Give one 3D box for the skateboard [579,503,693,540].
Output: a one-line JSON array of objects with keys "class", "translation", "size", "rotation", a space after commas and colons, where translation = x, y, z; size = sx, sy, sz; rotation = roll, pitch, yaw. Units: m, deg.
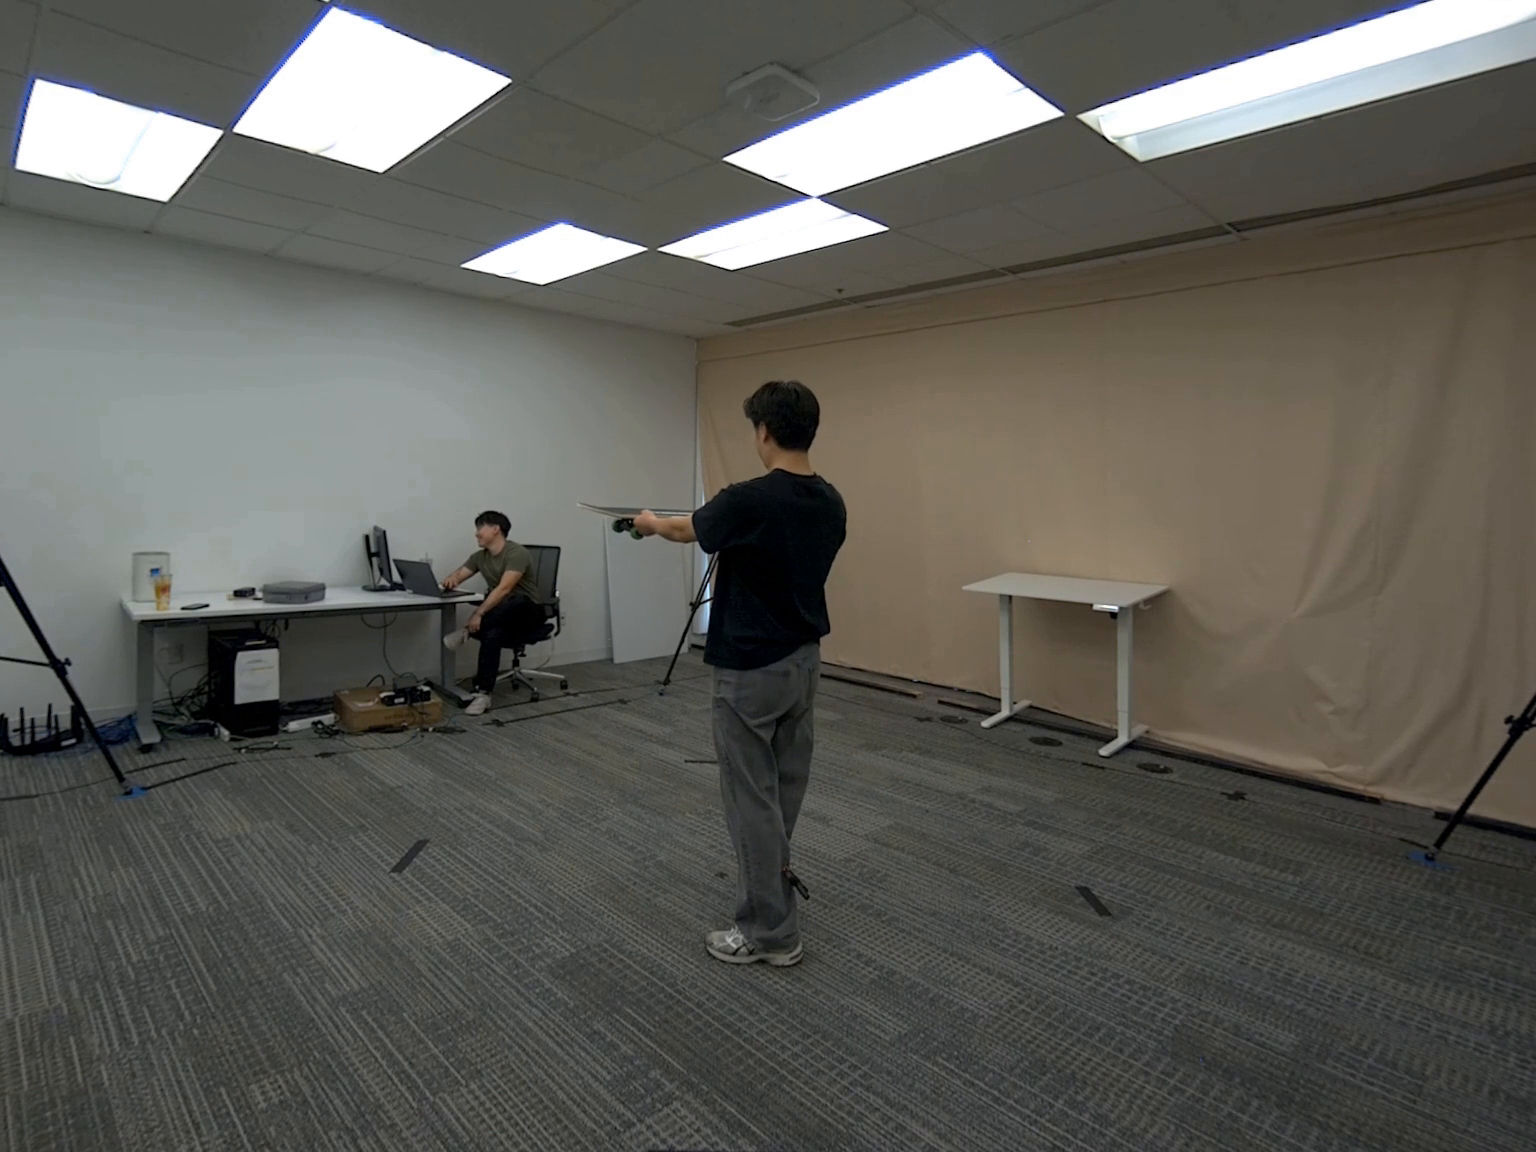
[{"class": "skateboard", "translation": [-0.317, -0.196, 3.120], "size": [0.768, 0.110, 0.199], "rotation": [0, 12, -34]}]
